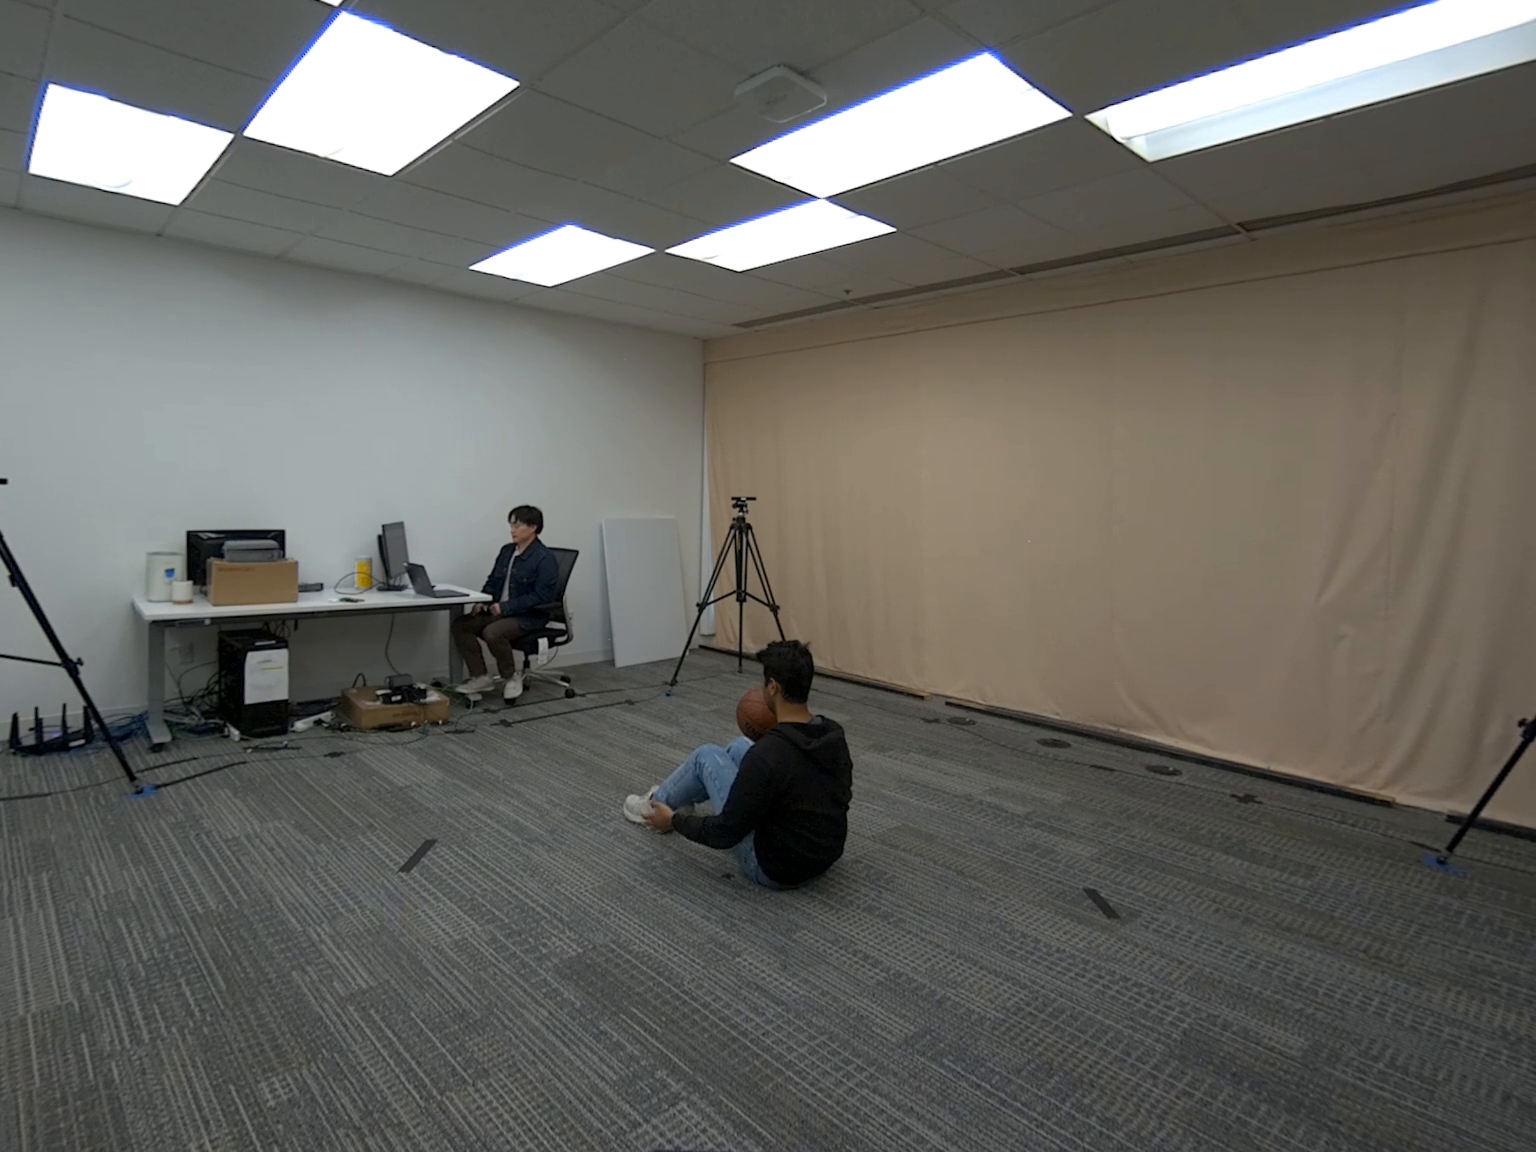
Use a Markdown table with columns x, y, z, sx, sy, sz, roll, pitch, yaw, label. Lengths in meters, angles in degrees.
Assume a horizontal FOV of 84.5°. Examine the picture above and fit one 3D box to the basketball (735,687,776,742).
| x | y | z | sx | sy | sz | roll | pitch | yaw | label |
| --- | --- | --- | --- | --- | --- | --- | --- | --- | --- |
| -0.019 | 0.595 | 3.547 | 0.236 | 0.235 | 0.237 | 1 | 4 | -1 | basketball |
